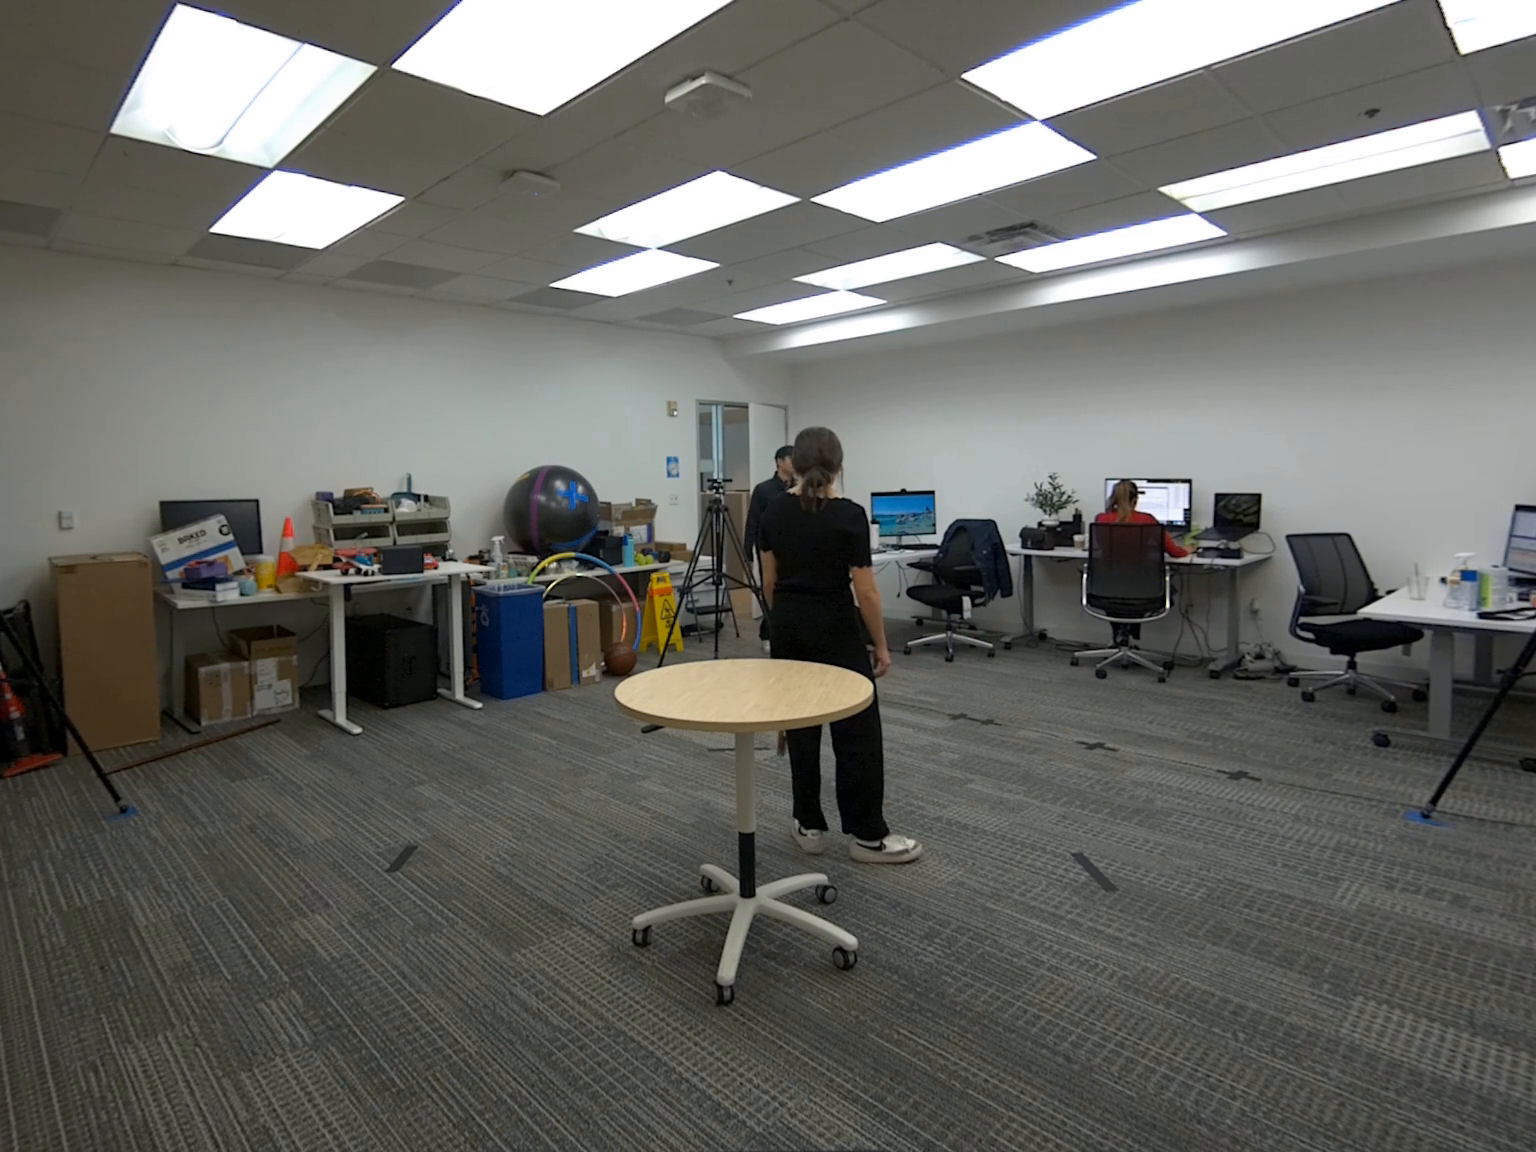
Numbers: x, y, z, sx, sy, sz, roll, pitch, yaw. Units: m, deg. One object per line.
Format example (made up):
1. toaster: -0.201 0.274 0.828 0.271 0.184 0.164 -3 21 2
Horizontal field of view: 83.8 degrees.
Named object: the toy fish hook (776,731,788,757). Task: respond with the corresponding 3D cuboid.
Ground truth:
1. toy fish hook: 0.082 0.467 3.506 0.048 0.503 0.227 5 9 -6
